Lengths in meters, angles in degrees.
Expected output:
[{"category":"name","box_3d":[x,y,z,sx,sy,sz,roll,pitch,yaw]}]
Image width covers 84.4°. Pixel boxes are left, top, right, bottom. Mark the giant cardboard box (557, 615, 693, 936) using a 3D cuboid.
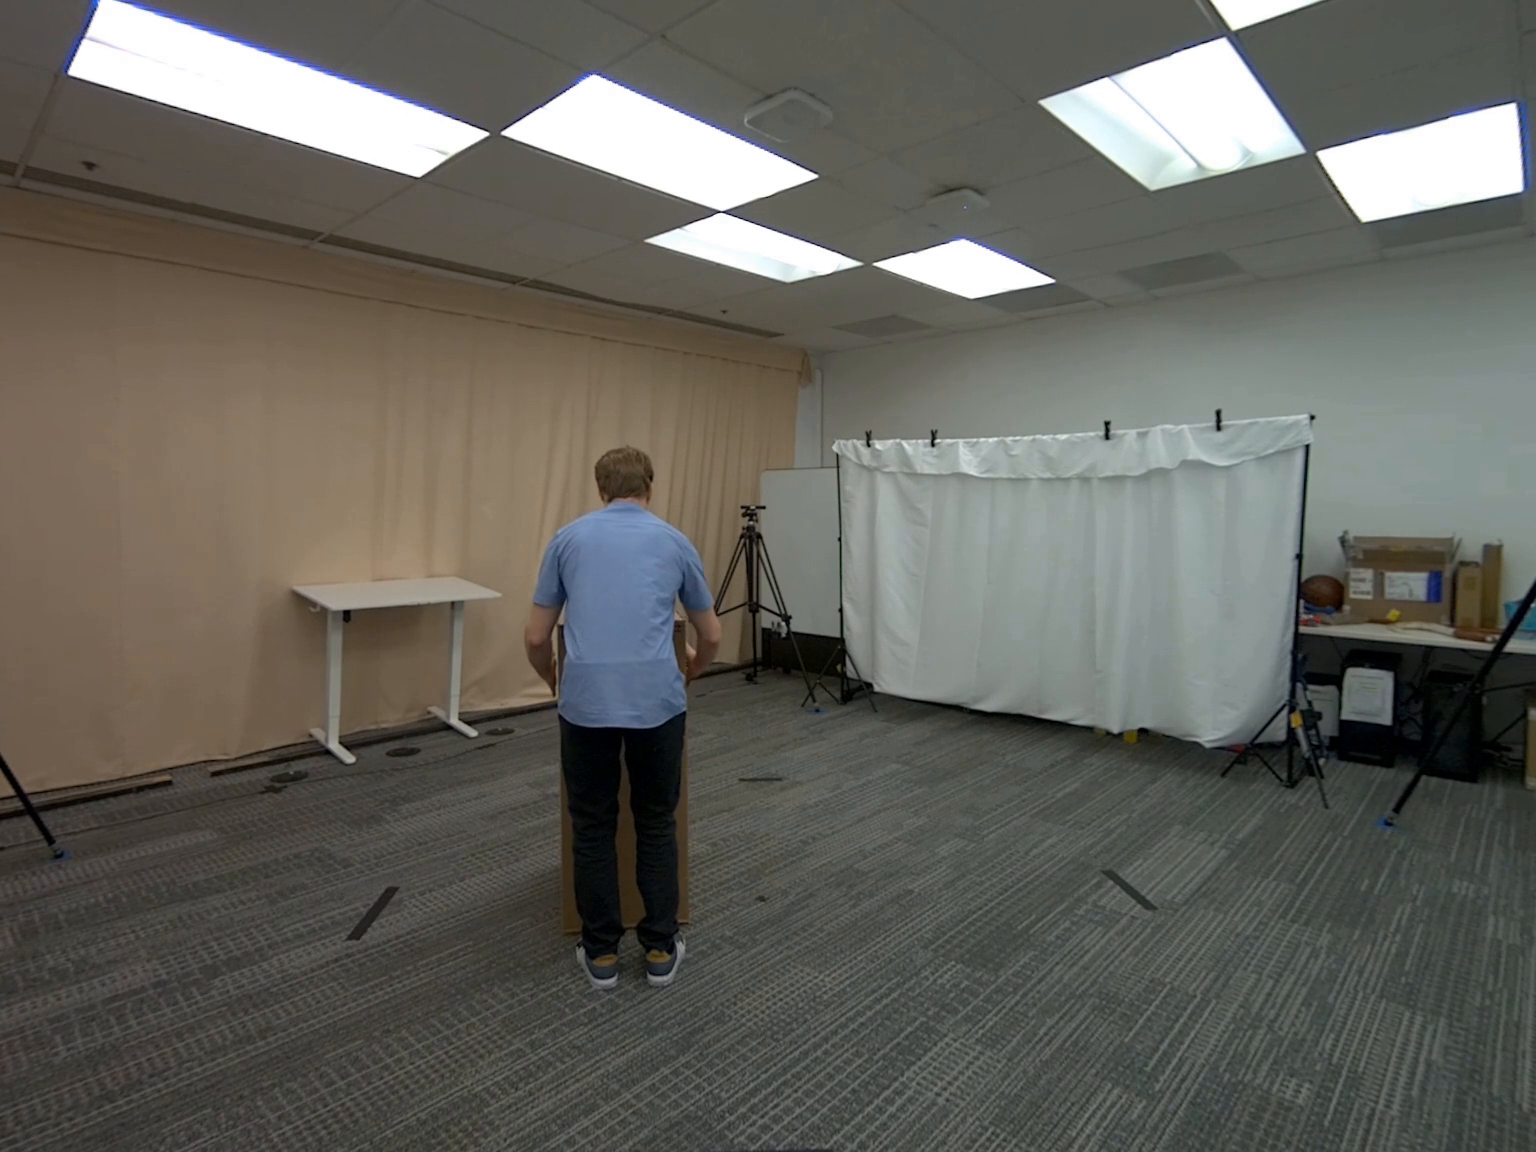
[{"category":"giant cardboard box","box_3d":[-0.533,0.637,3.035,0.442,1.025,0.591,-1,3,-11]}]
